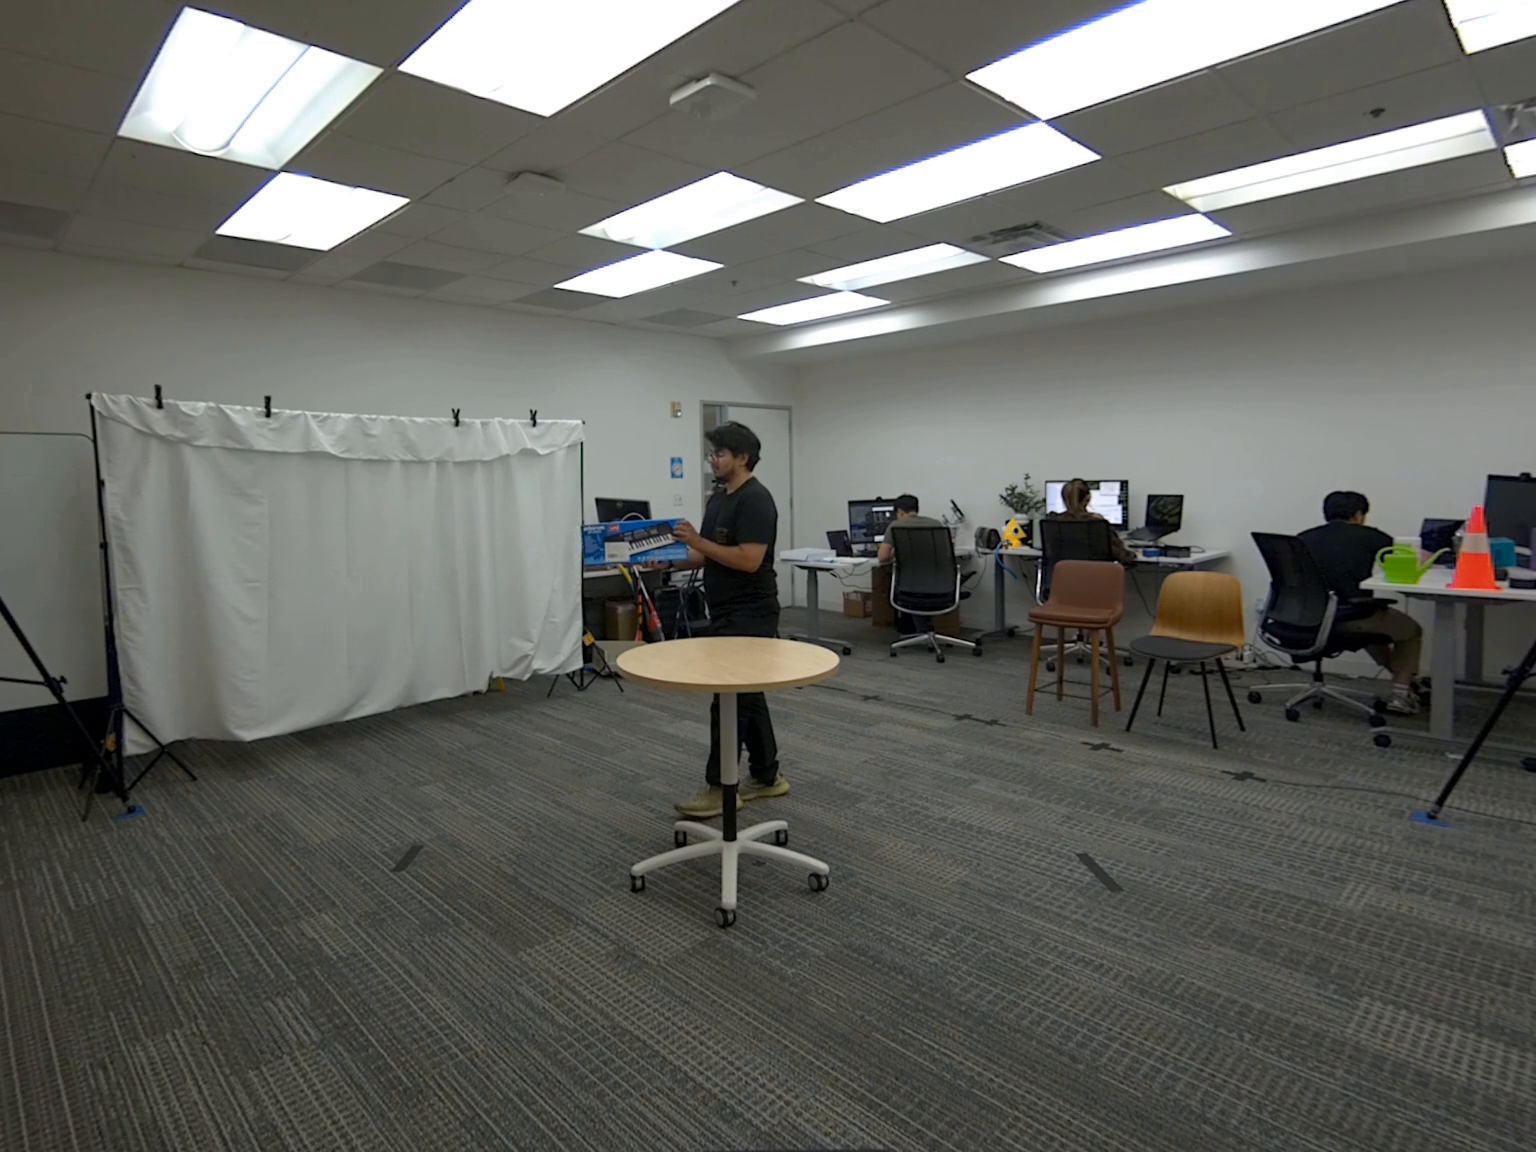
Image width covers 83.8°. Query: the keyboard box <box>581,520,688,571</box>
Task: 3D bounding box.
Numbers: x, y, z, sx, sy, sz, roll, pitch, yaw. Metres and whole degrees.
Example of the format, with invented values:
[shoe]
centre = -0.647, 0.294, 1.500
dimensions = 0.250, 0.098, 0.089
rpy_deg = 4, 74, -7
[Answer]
[keyboard box]
centre = -0.570, -0.141, 3.592
dimensions = 0.437, 0.175, 0.059
rpy_deg = -3, 3, 0
